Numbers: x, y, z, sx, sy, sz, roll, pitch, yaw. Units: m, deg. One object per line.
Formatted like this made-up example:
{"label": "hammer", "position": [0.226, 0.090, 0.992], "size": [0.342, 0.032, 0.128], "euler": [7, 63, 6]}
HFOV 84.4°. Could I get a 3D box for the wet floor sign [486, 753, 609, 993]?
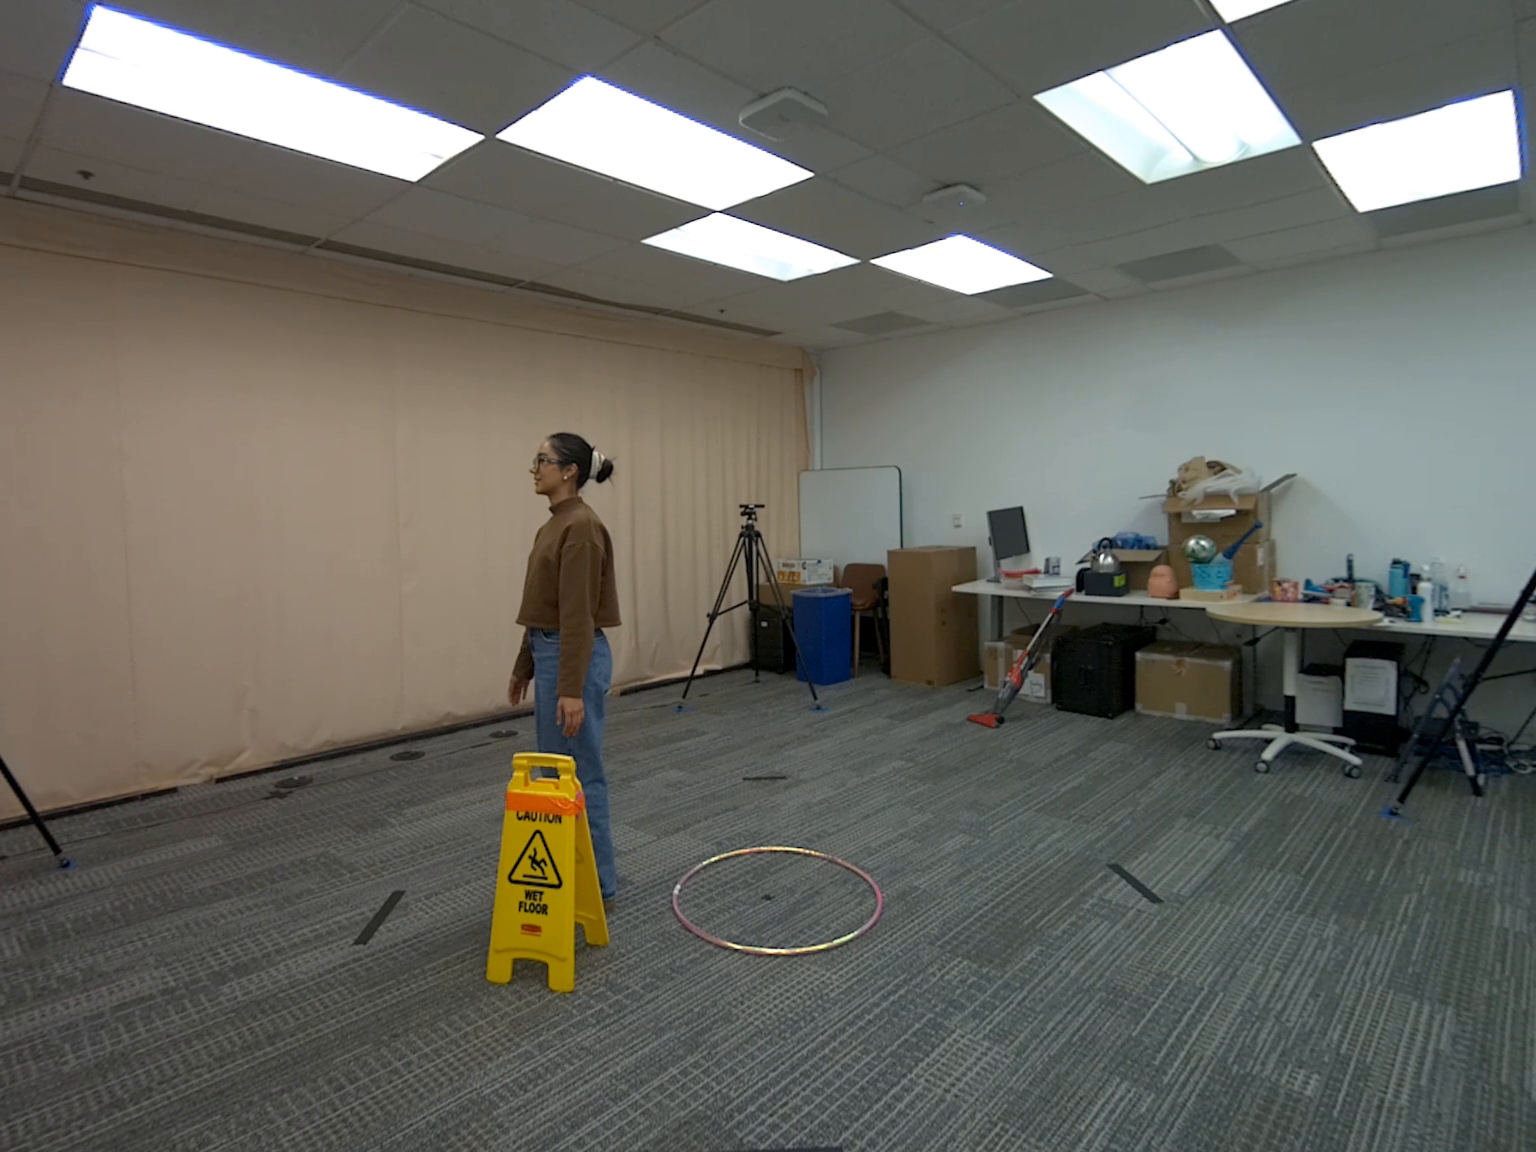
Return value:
{"label": "wet floor sign", "position": [-0.677, 0.861, 2.575], "size": [0.287, 0.645, 0.286], "euler": [-1, 2, 14]}
